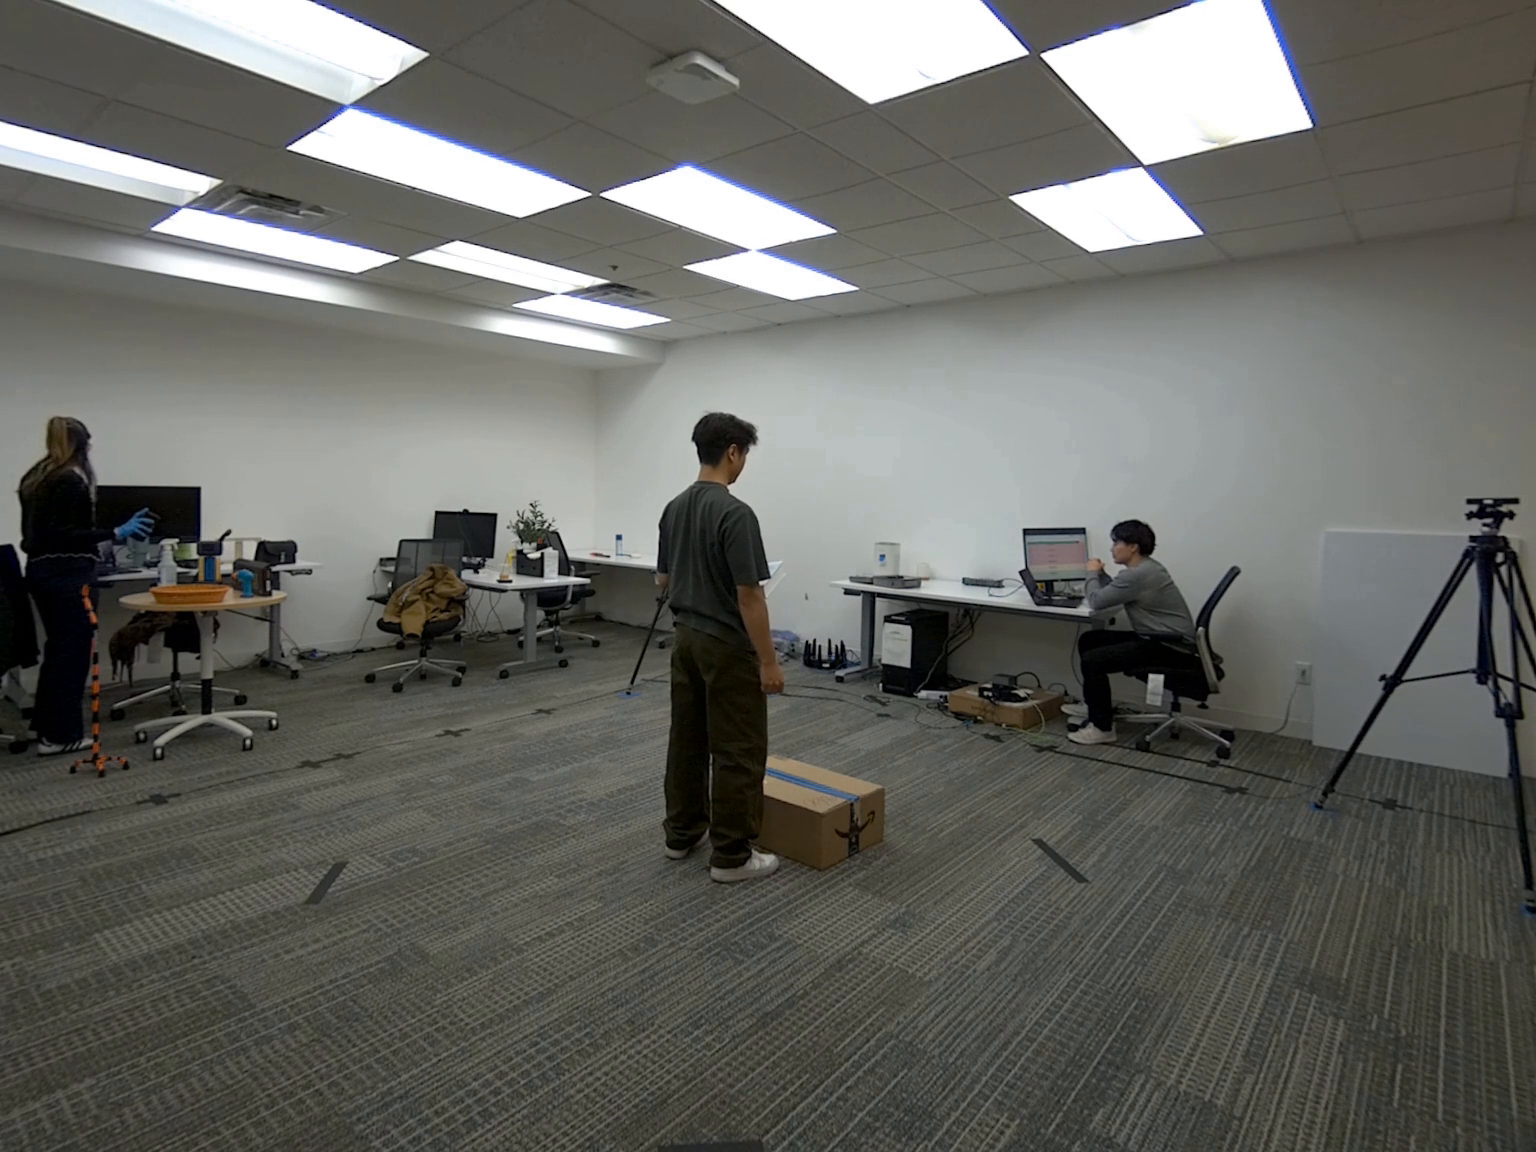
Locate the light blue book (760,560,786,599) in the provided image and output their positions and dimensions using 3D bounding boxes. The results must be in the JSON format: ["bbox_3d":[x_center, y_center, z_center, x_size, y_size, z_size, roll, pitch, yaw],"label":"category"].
[{"bbox_3d":[-0.057,0.023,3.415,0.195,0.058,0.260,-9,18,24],"label":"light blue book"}]
